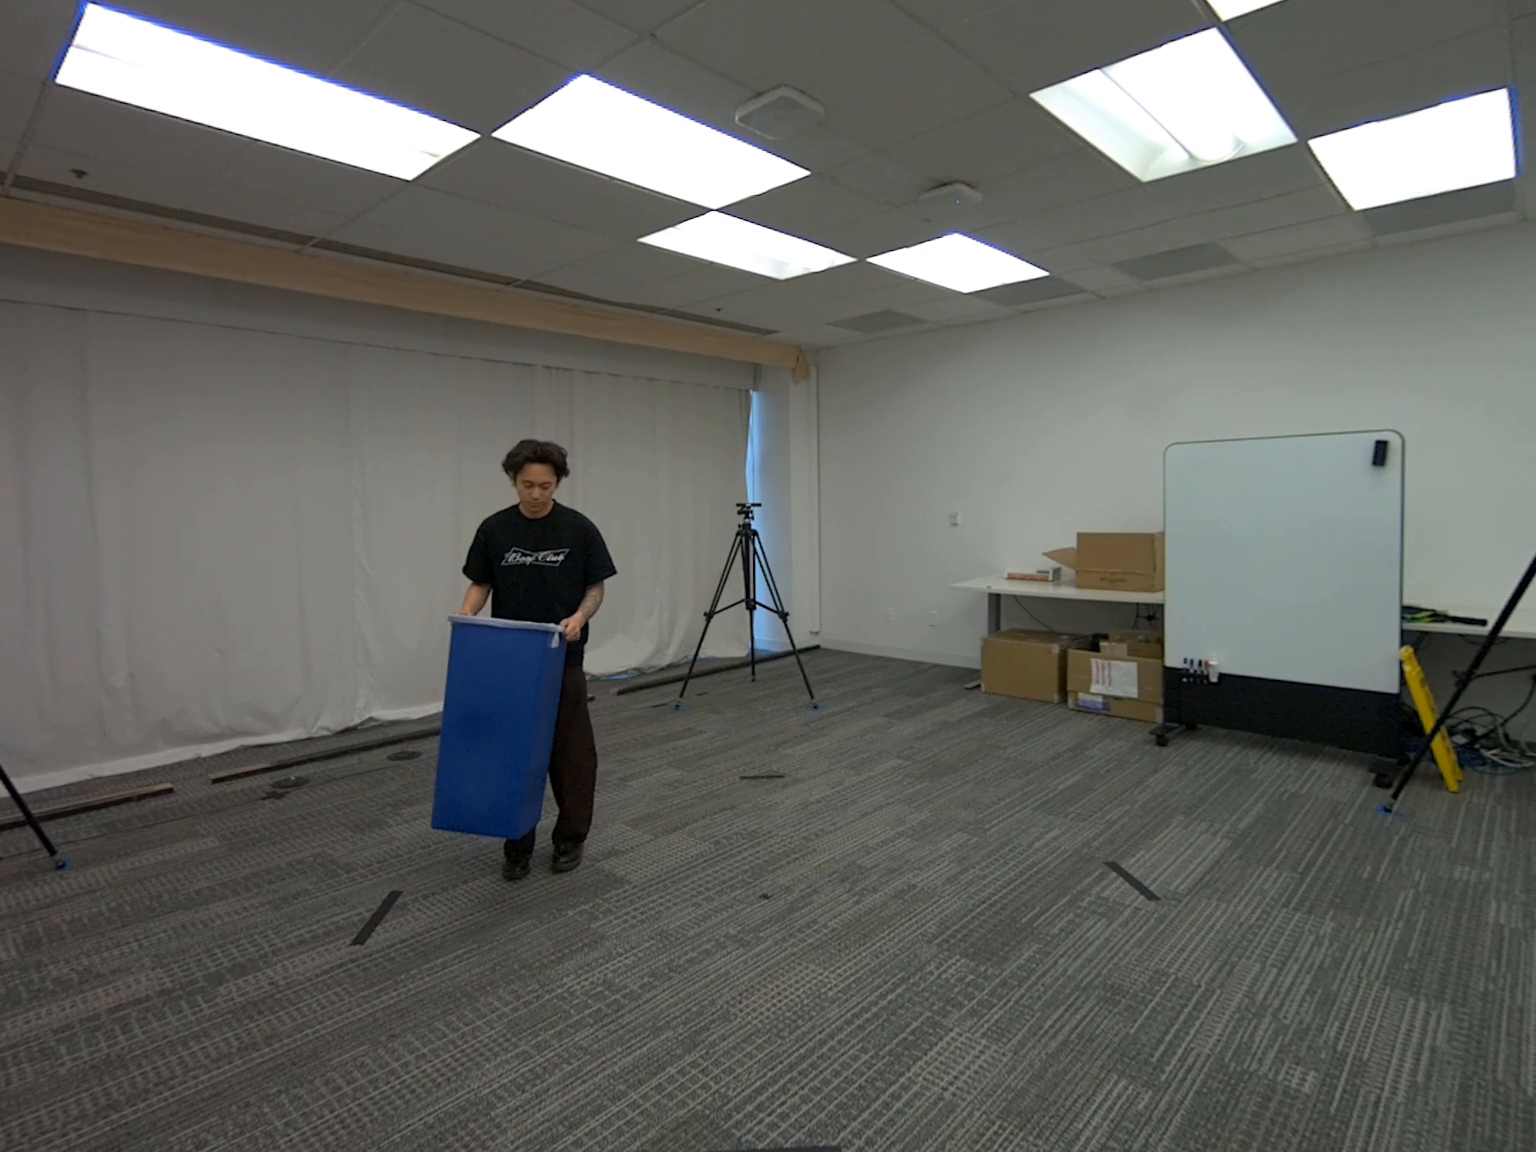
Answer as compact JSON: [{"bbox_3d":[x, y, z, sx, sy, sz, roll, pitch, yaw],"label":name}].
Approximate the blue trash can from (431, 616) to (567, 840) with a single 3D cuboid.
[{"bbox_3d":[-0.938,0.515,2.977,0.375,0.716,0.376,5,-7,1],"label":"blue trash can"}]
